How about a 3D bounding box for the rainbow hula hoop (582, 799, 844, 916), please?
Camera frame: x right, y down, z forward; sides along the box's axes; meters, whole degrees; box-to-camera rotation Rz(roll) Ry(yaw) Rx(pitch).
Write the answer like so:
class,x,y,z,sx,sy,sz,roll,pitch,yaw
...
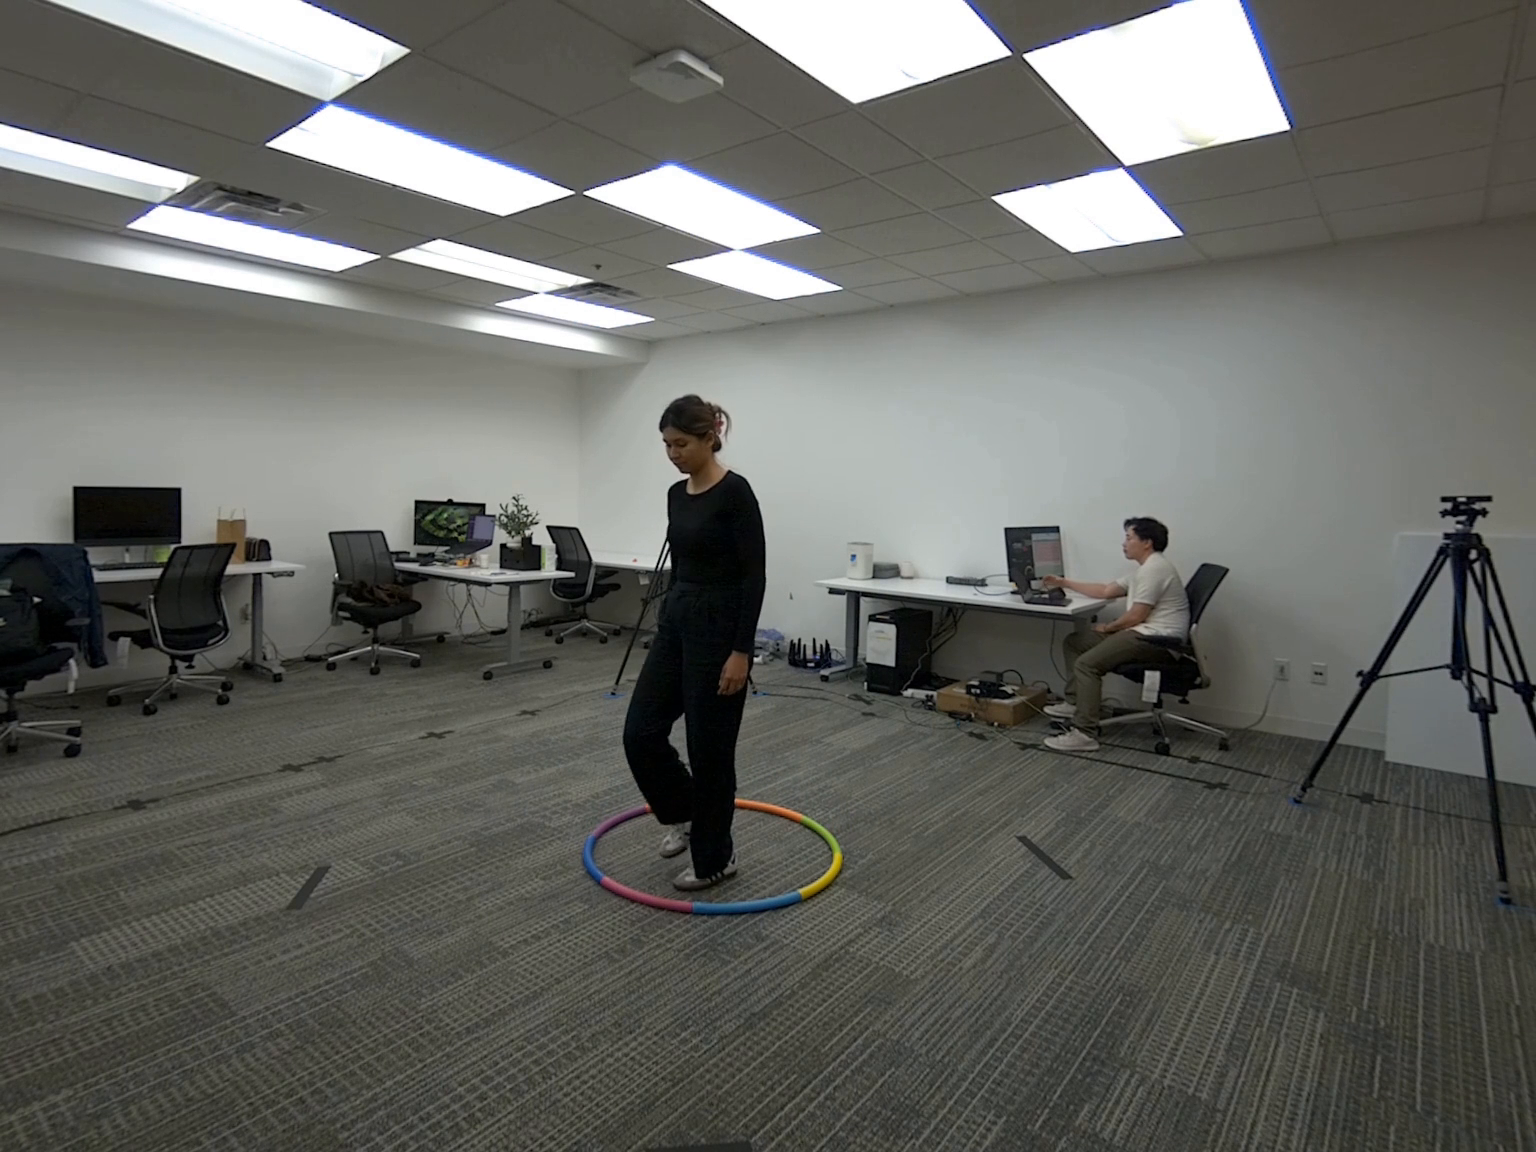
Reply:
class,x,y,z,sx,sy,sz,roll,pitch,yaw
rainbow hula hoop,-0.221,1.023,3.247,0.978,0.035,0.984,0,6,-2
